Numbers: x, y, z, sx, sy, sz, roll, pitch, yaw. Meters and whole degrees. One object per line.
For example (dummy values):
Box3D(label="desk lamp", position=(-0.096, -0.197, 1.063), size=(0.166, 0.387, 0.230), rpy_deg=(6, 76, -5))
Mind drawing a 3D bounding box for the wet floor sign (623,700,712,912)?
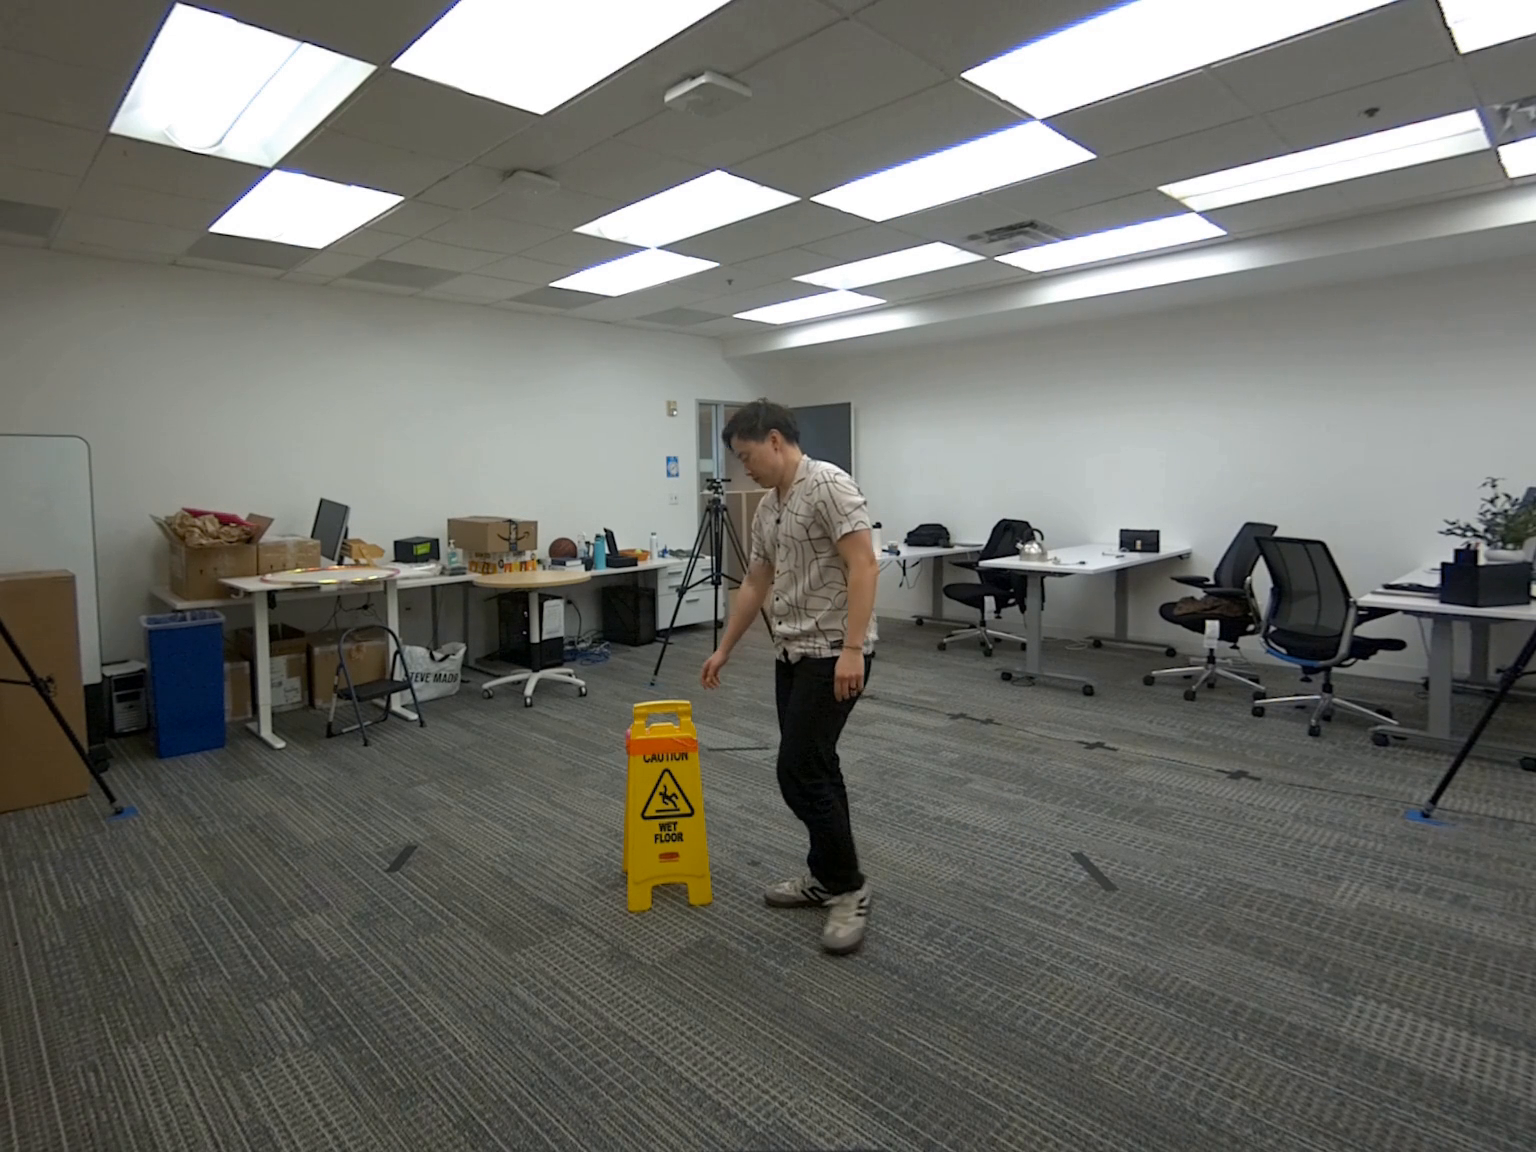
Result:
Box3D(label="wet floor sign", position=(-0.357, 0.745, 2.916), size=(0.279, 0.643, 0.294), rpy_deg=(-3, 5, -12))
